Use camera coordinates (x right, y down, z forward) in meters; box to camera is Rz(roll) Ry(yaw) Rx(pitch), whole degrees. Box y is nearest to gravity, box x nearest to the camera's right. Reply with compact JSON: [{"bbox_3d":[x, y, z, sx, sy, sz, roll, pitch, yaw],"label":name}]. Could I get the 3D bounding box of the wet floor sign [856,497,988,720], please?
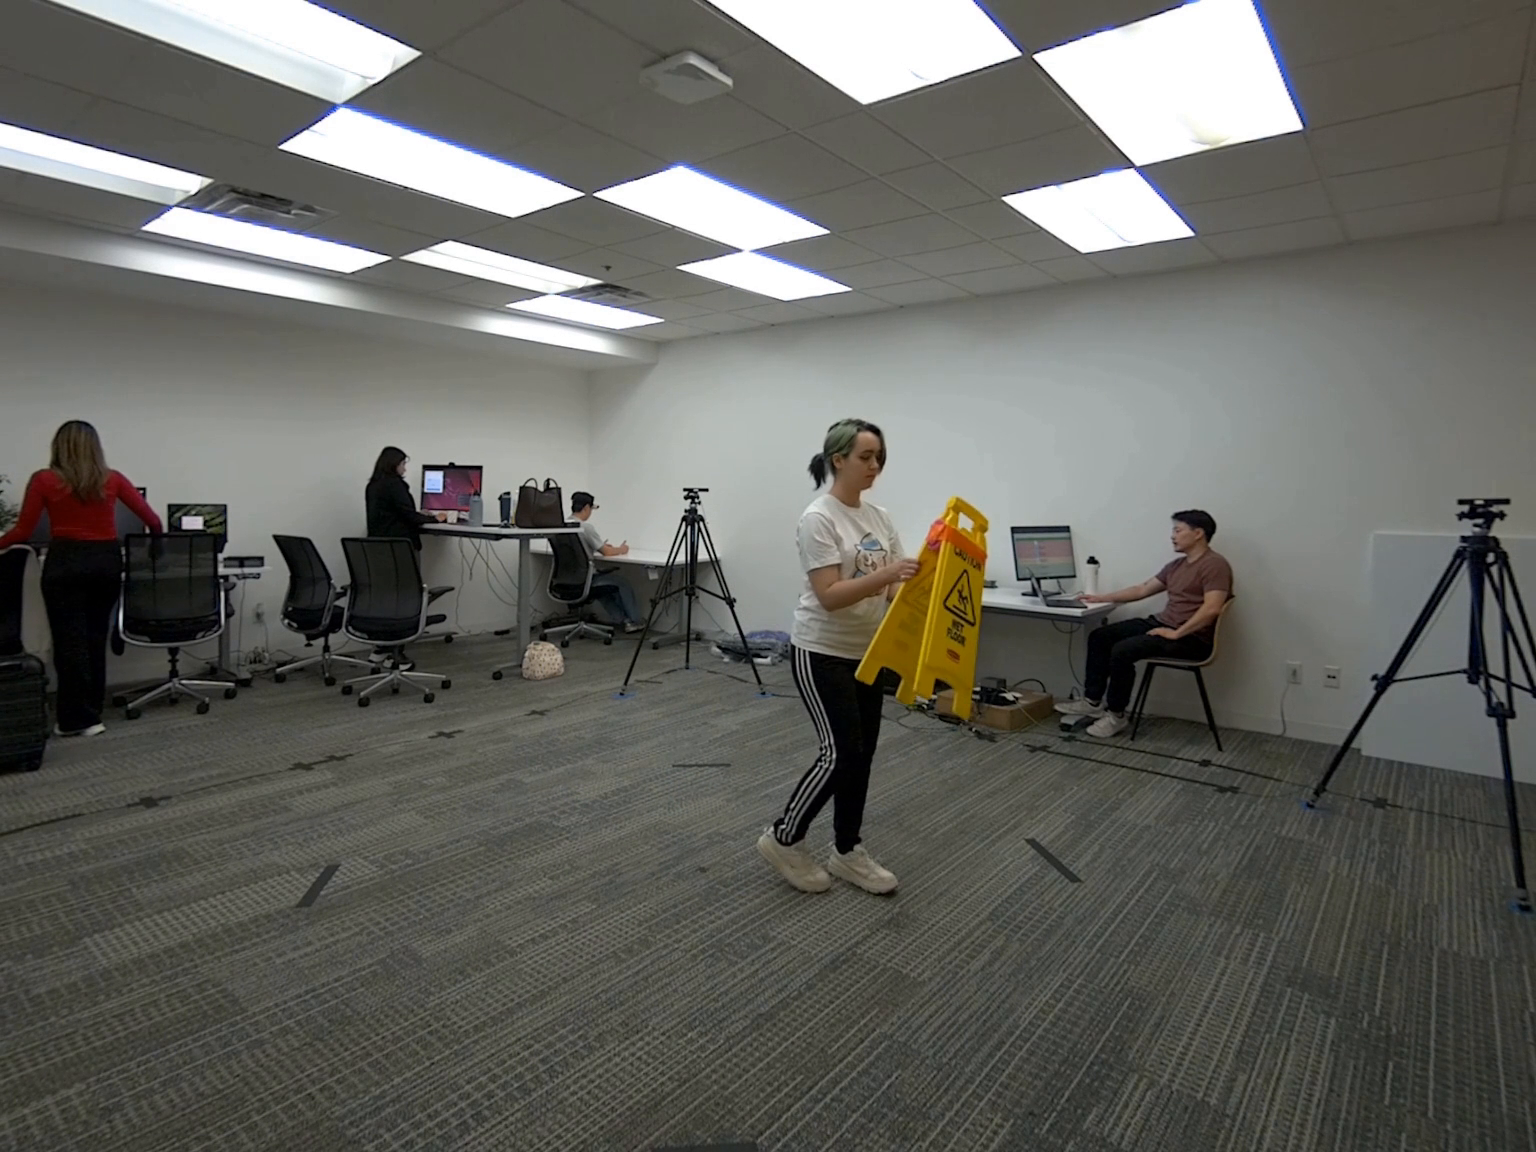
[{"bbox_3d":[0.537,0.075,2.675,0.271,0.650,0.299,29,-16,-36],"label":"wet floor sign"}]
